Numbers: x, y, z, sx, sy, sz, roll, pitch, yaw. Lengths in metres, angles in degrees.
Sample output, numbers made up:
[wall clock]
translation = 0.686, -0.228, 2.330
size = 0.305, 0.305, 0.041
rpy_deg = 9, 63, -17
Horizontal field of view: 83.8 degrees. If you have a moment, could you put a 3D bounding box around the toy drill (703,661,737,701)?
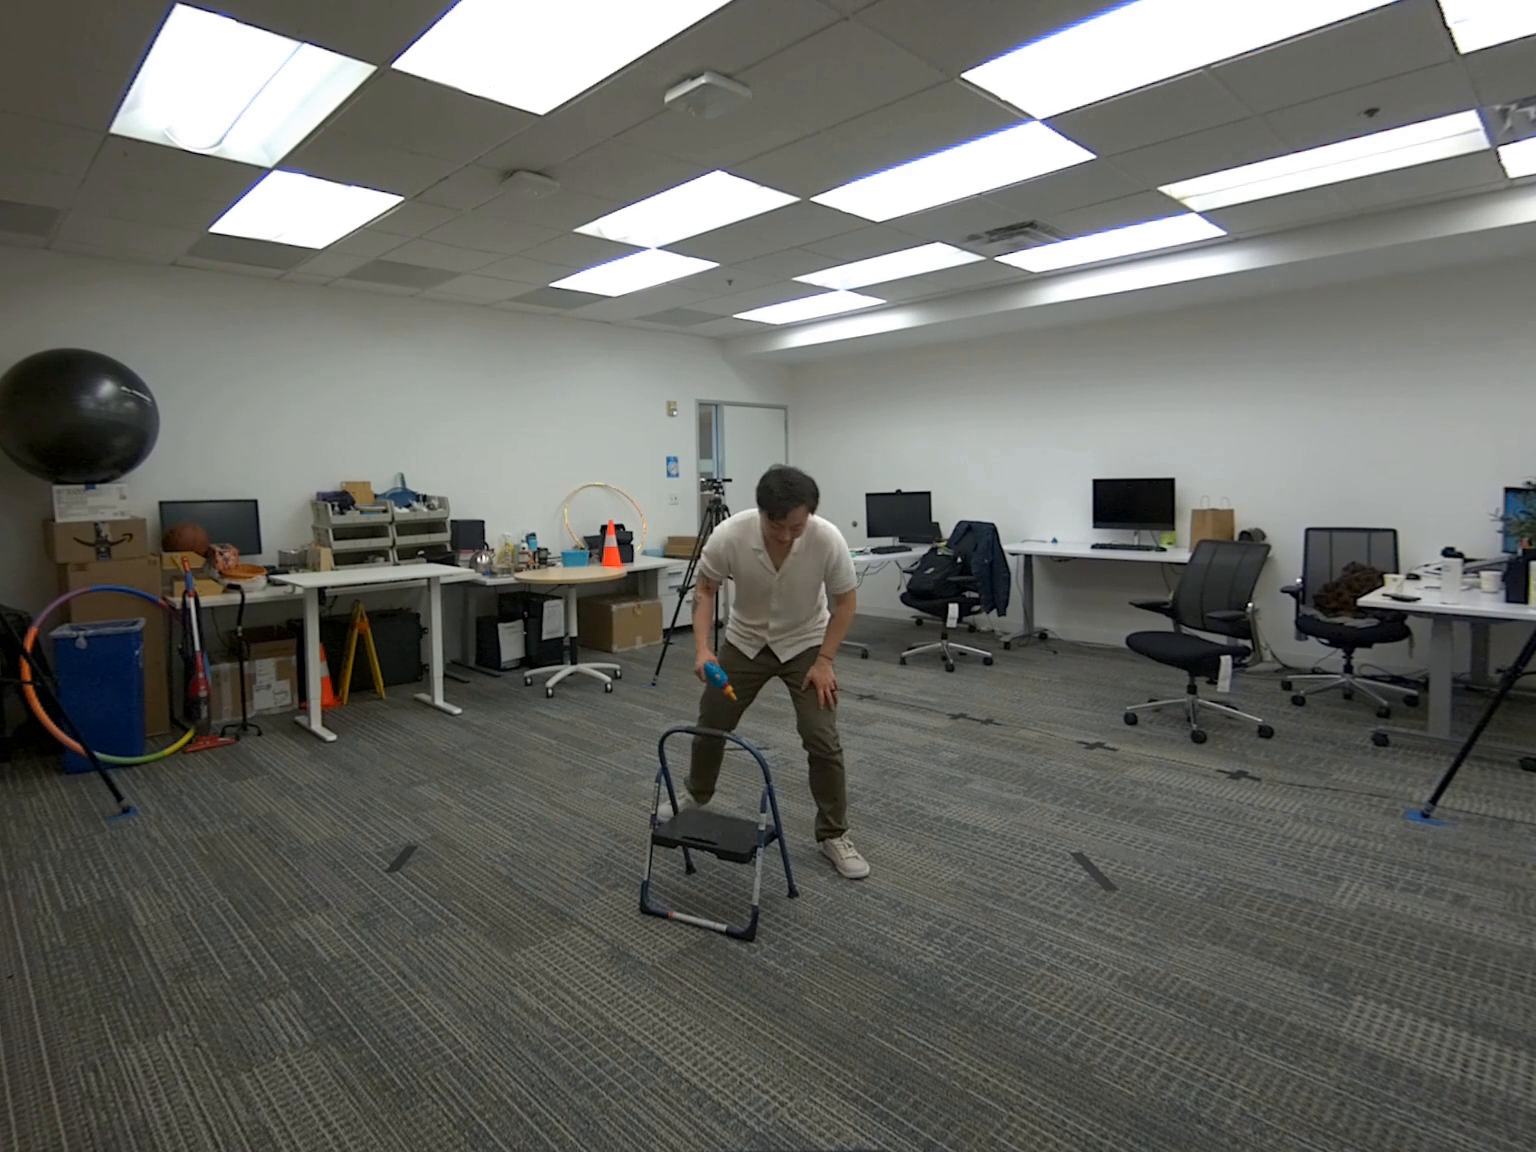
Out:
[toy drill]
translation = -0.195, 0.388, 3.040
size = 0.061, 0.170, 0.146
rpy_deg = -44, 1, -18
